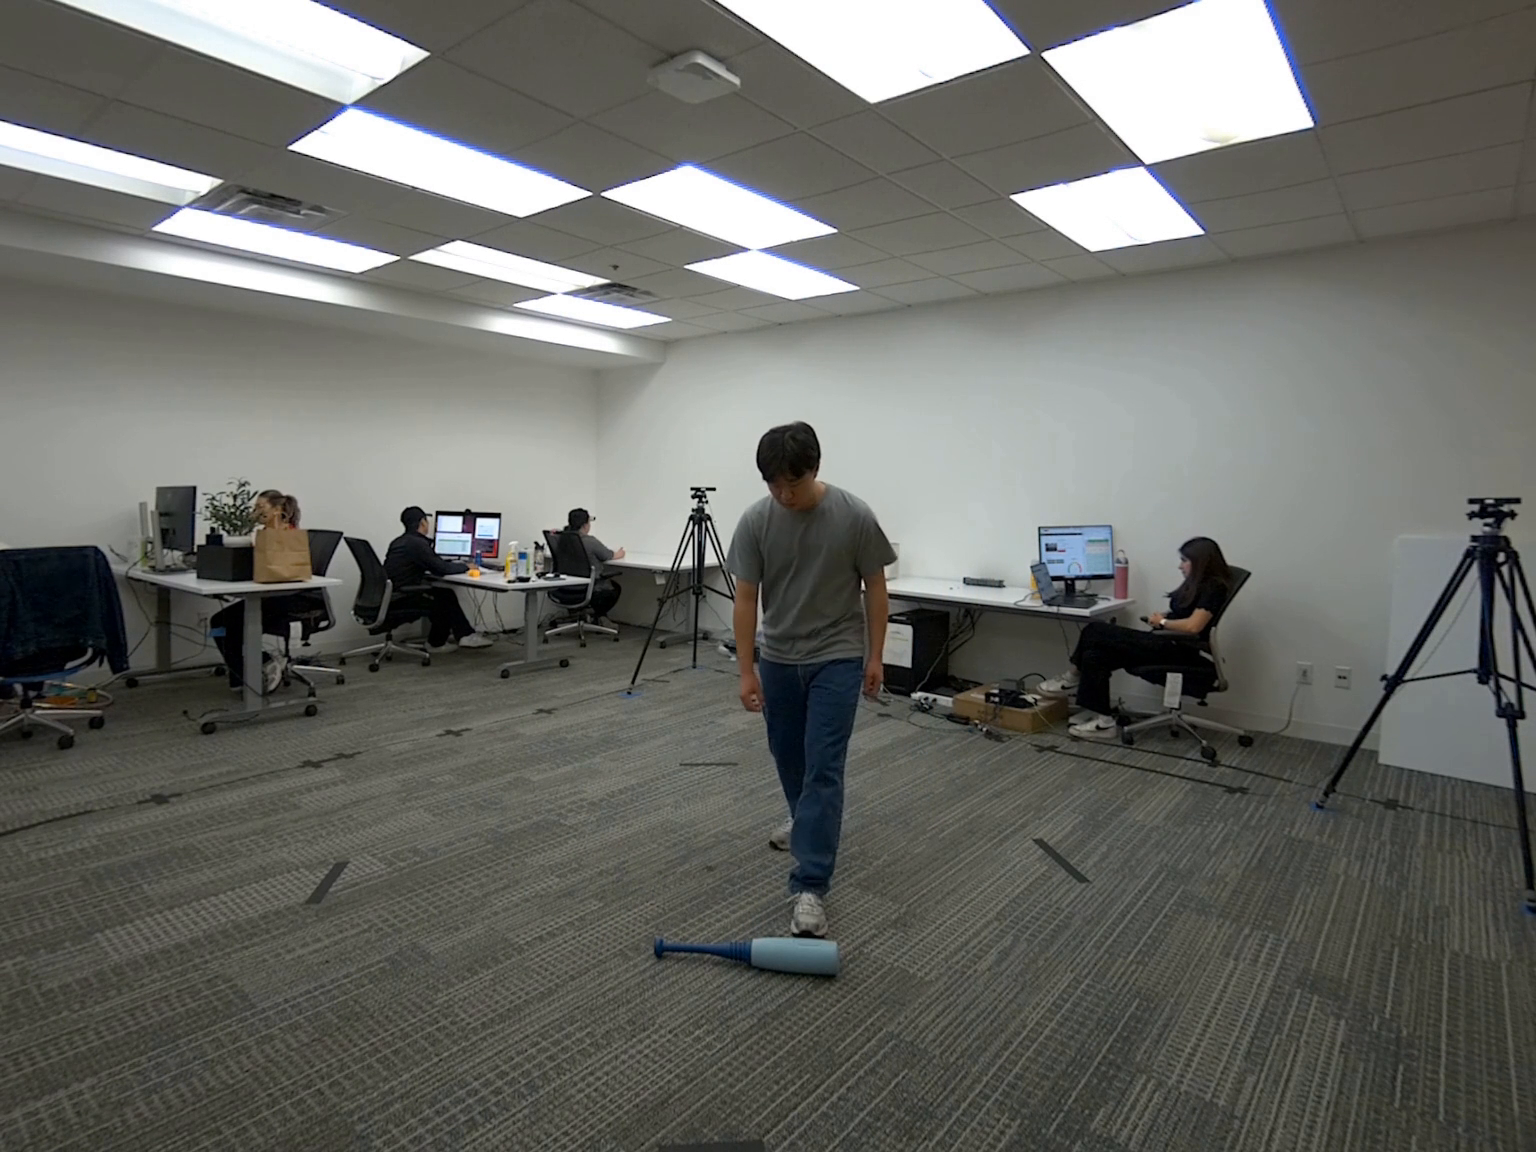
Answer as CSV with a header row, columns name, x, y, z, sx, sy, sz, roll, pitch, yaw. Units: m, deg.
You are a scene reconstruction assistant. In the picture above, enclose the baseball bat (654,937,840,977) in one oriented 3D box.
name,x,y,z,sx,sy,sz,roll,pitch,yaw
baseball bat,-0.075,1.093,2.477,0.549,0.089,0.088,0,4,10
